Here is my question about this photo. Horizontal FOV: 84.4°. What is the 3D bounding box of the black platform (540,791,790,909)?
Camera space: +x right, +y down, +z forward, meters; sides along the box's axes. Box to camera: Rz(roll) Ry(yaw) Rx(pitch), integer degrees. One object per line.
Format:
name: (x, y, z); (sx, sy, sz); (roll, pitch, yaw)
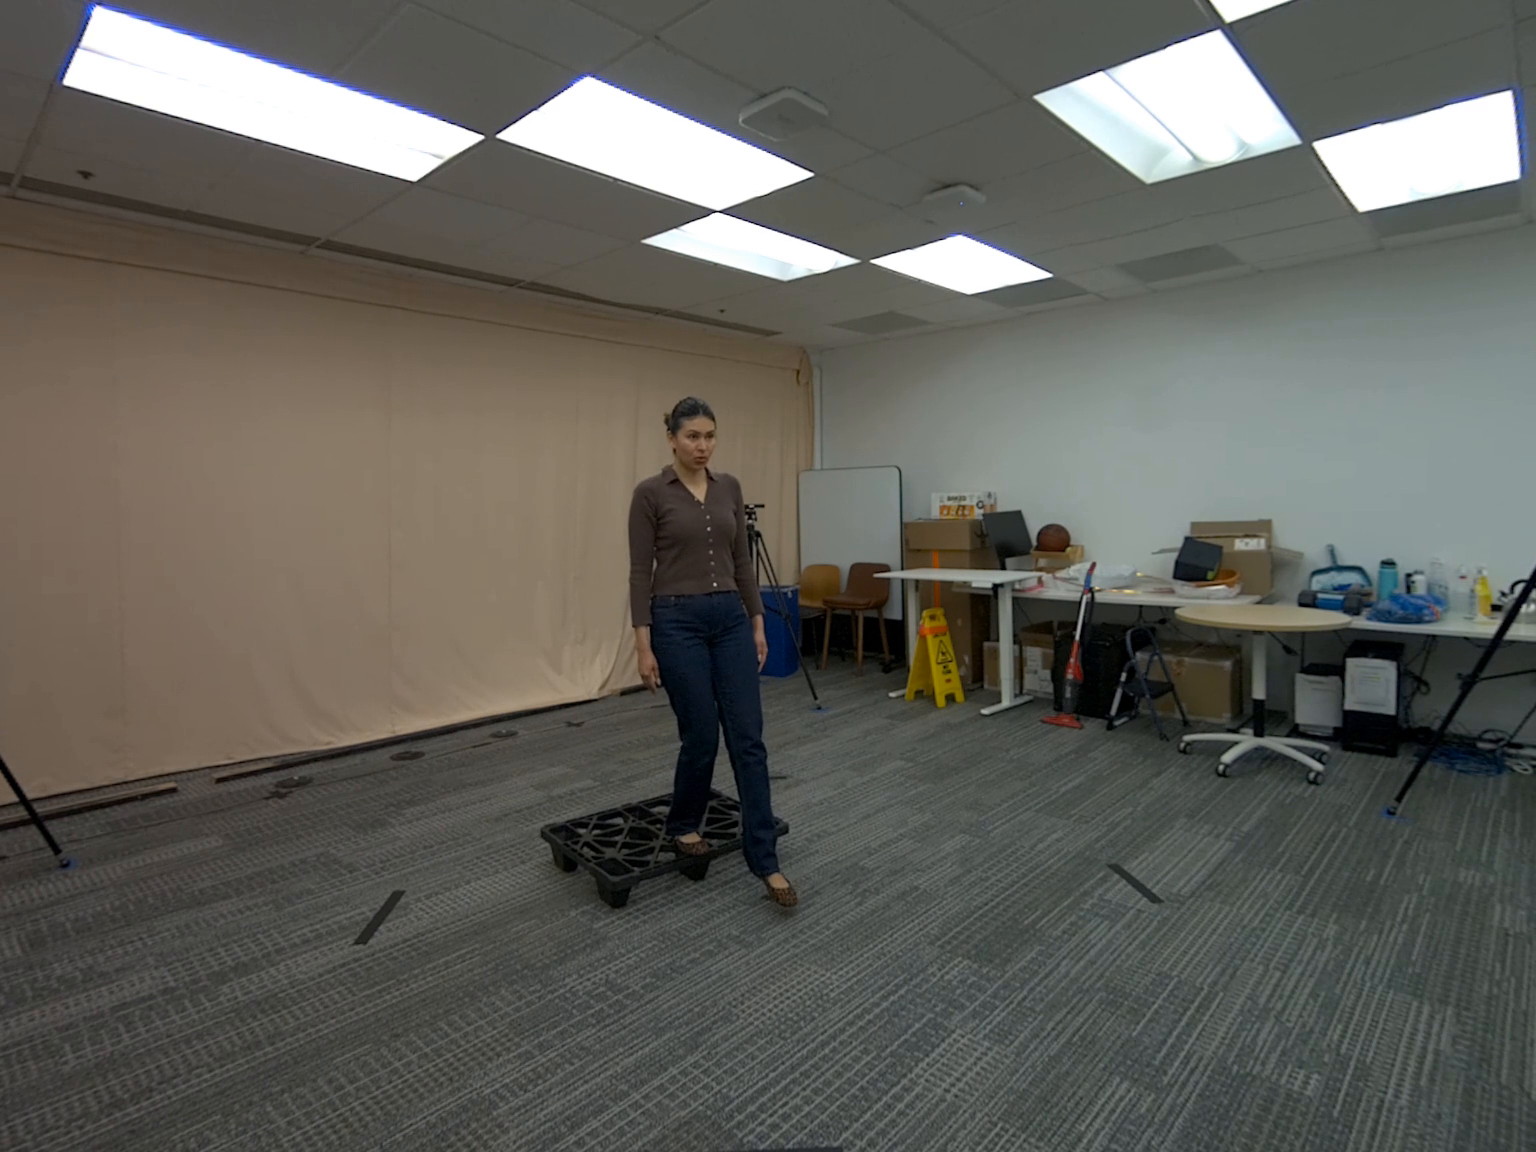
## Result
black platform: (-0.401, 1.052, 3.321); (0.782, 0.143, 0.625); (-5, 8, -38)
